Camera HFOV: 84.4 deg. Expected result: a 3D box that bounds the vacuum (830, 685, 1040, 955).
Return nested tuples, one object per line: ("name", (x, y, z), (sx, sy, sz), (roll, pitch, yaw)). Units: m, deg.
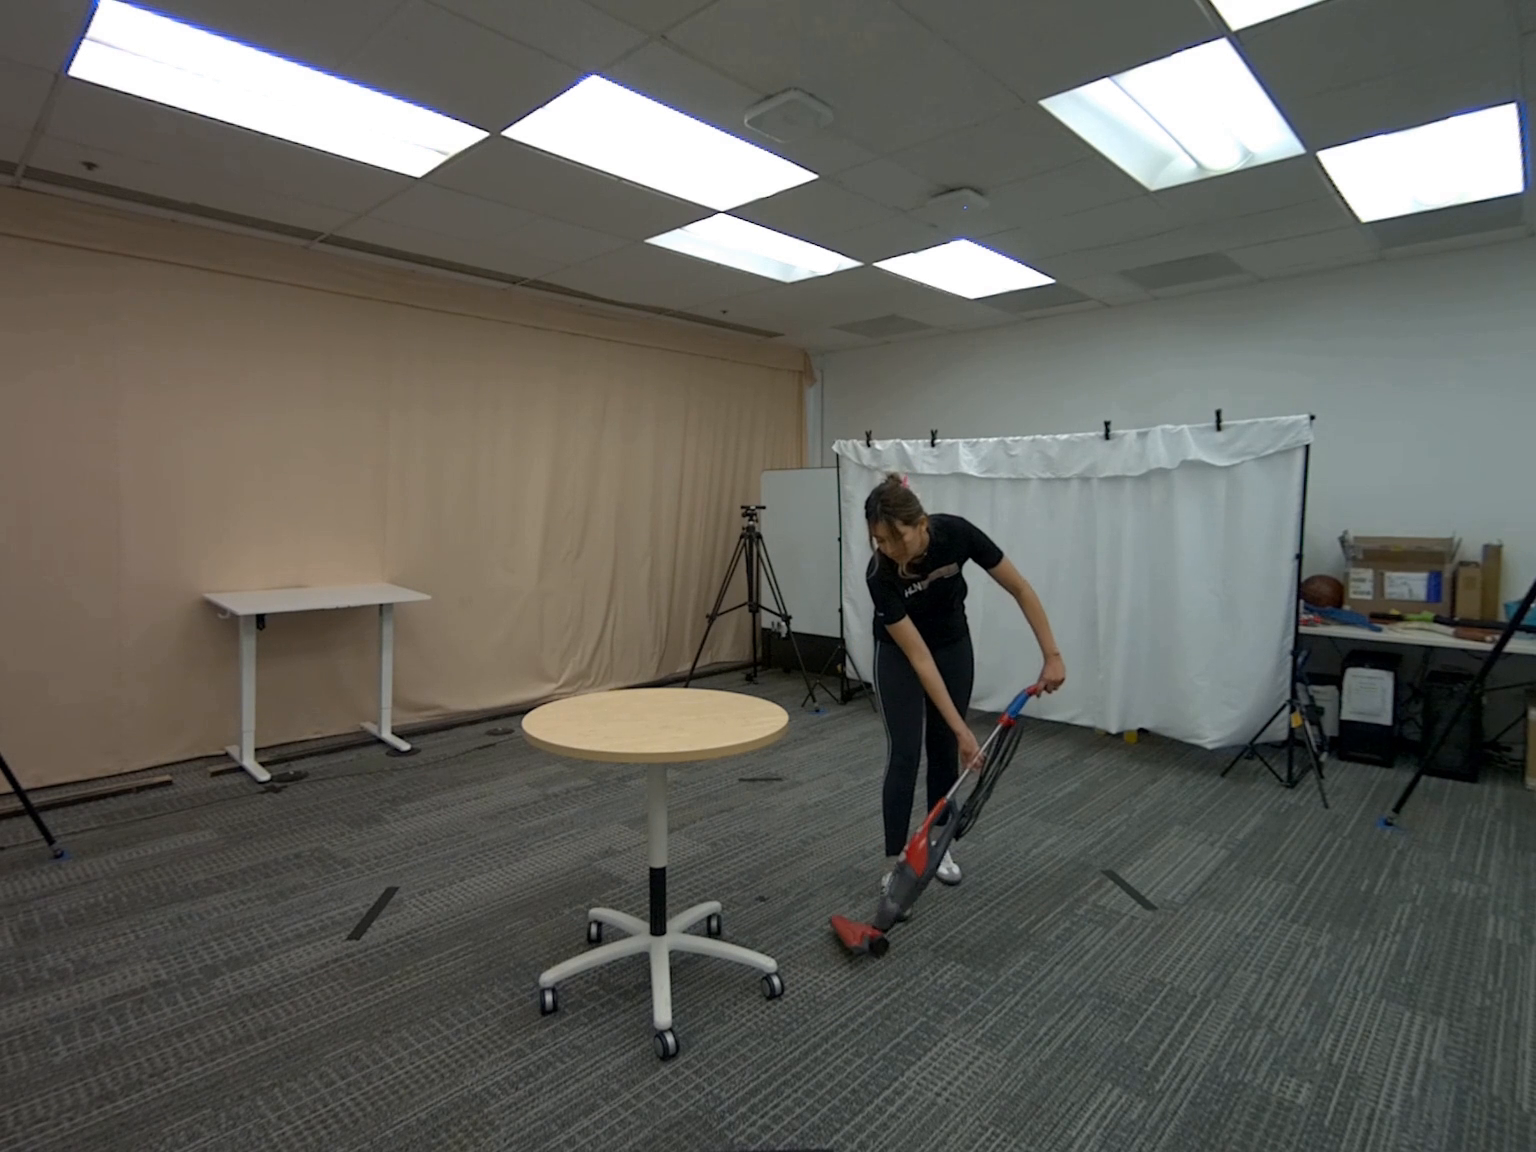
("vacuum", (0.602, 0.758, 2.712), (0.143, 1.047, 0.254), (40, -9, -4))
